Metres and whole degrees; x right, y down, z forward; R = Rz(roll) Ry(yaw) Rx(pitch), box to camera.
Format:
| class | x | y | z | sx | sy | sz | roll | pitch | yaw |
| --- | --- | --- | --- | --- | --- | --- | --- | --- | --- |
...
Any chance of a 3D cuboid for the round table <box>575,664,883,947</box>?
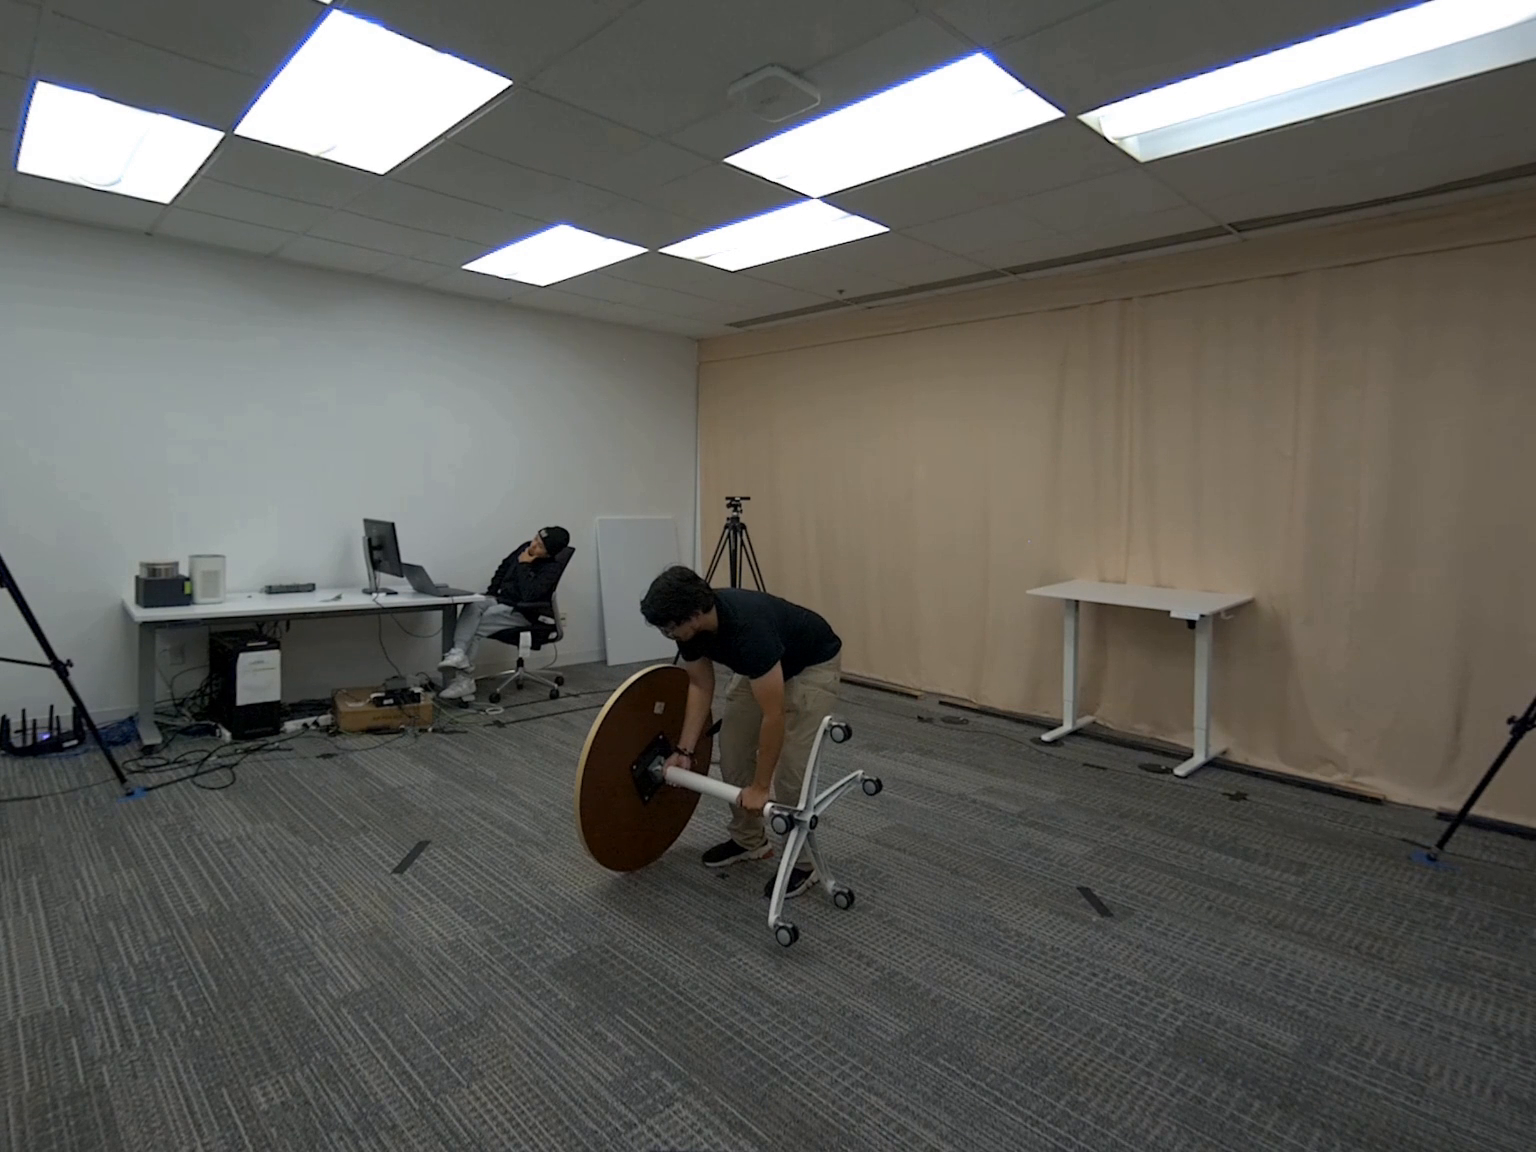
| class | x | y | z | sx | sy | sz | roll | pitch | yaw |
| --- | --- | --- | --- | --- | --- | --- | --- | --- | --- |
| round table | -0.123 | 0.754 | 2.925 | 0.806 | 0.782 | 0.769 | 8 | 7 | 33 |
